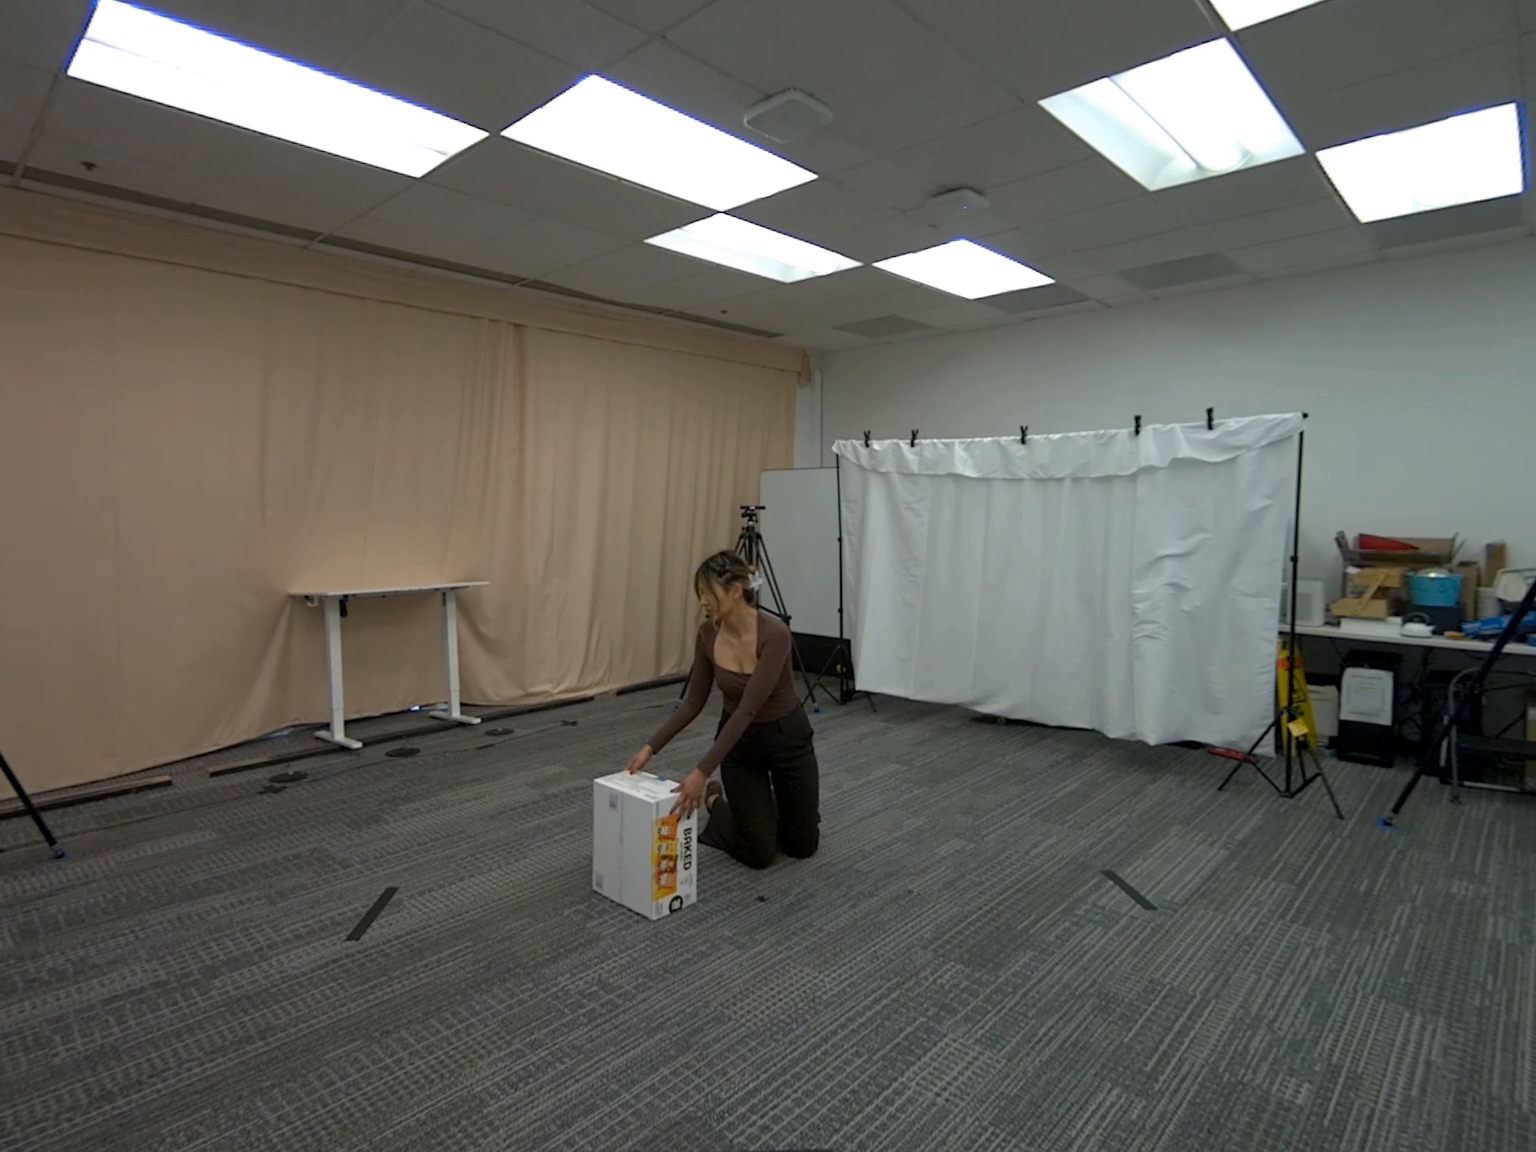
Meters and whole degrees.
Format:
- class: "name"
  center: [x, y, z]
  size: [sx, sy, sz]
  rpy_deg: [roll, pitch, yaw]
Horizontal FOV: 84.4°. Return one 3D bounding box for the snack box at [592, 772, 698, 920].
- class: "snack box"
  center: [-0.442, 0.944, 3.001]
  size: [0.352, 0.404, 0.199]
  rpy_deg: [3, 3, 43]
